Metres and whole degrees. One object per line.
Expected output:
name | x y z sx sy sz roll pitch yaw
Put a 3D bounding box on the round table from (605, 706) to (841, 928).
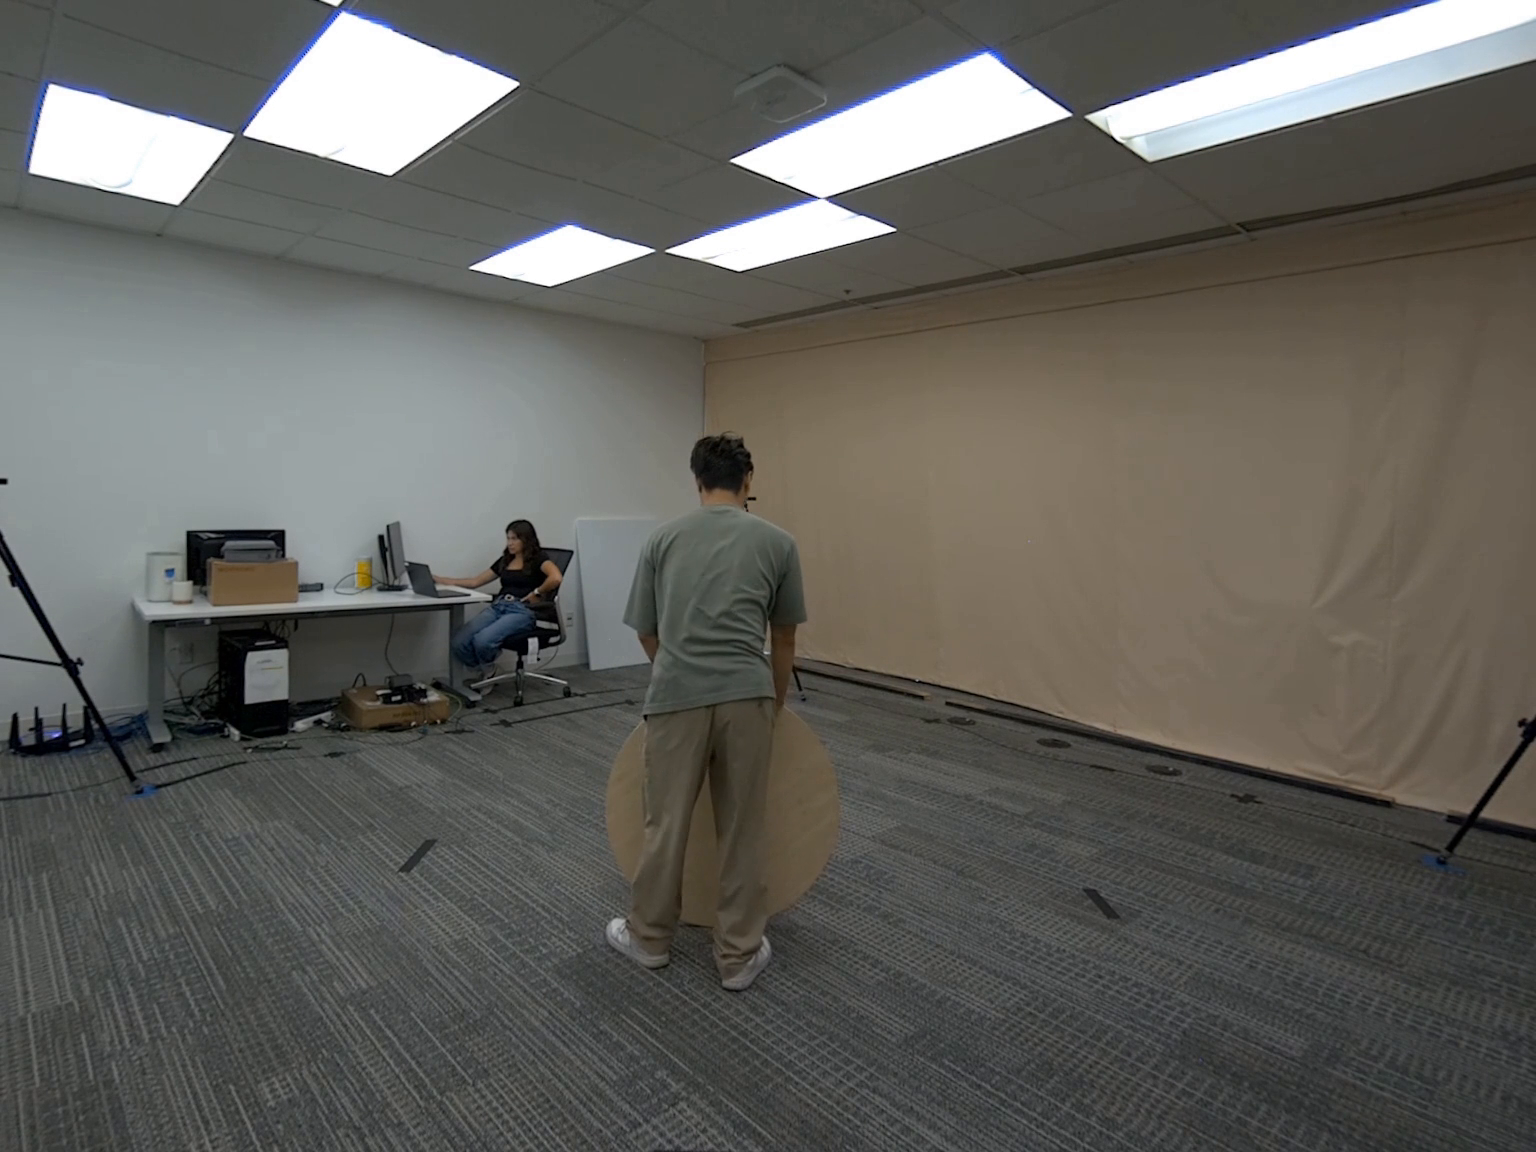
round table | -0.191 0.744 3.136 0.782 0.785 0.789 1 0 -5
